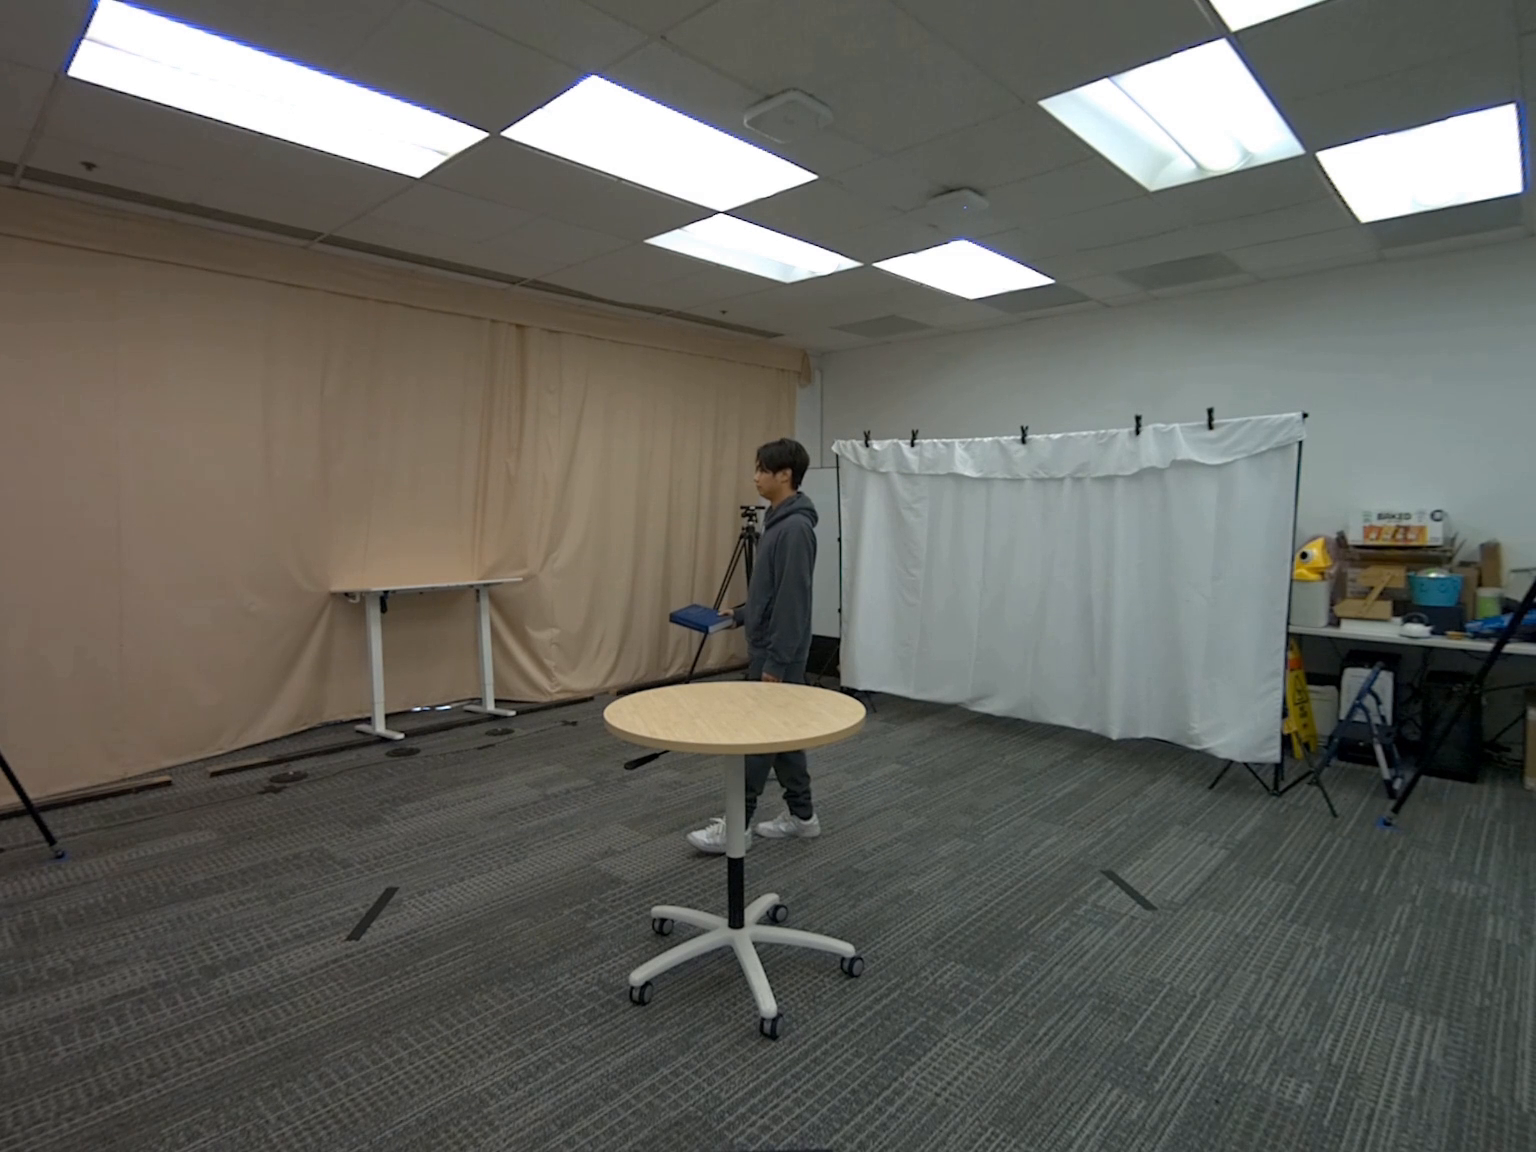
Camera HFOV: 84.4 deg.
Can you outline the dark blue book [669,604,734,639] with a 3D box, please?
[{"bbox_3d":[-0.294,0.193,3.722,0.254,0.045,0.159,13,23,38],"label":"dark blue book"}]
